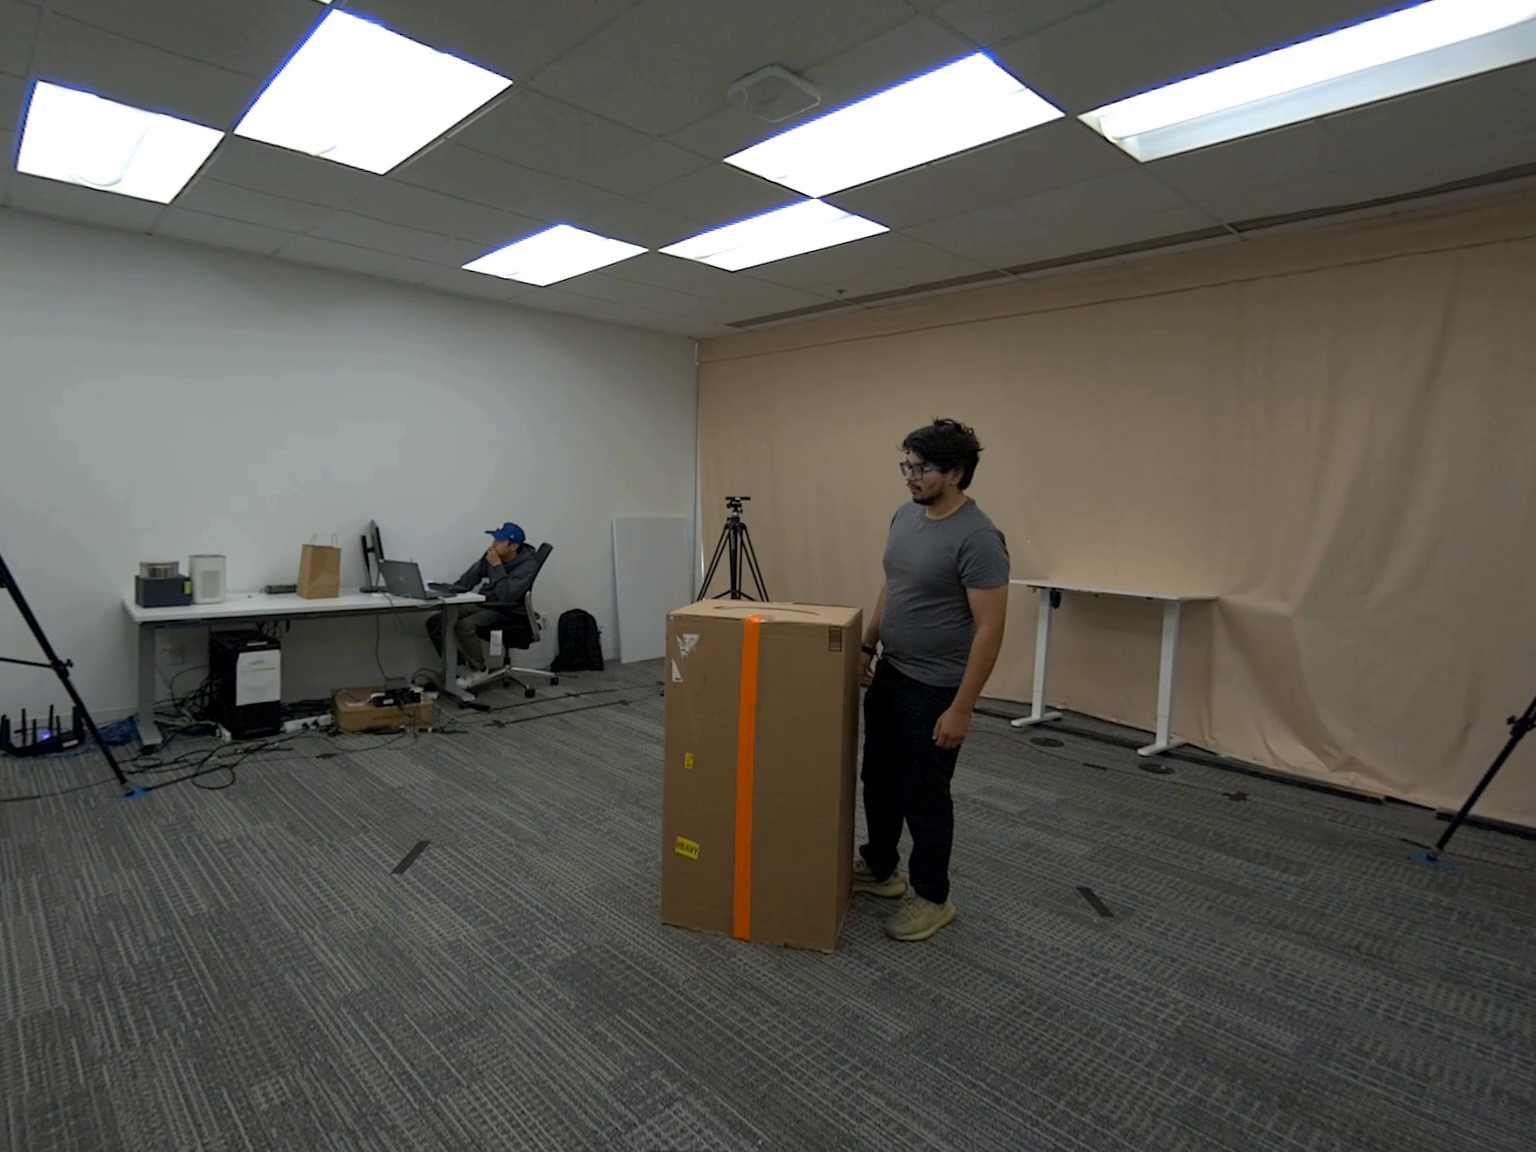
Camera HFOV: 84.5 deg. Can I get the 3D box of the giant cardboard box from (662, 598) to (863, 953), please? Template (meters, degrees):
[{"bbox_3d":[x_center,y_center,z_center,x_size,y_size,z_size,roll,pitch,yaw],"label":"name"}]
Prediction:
[{"bbox_3d":[-0.018,0.626,2.831,0.591,1.025,0.442,2,3,15],"label":"giant cardboard box"}]
